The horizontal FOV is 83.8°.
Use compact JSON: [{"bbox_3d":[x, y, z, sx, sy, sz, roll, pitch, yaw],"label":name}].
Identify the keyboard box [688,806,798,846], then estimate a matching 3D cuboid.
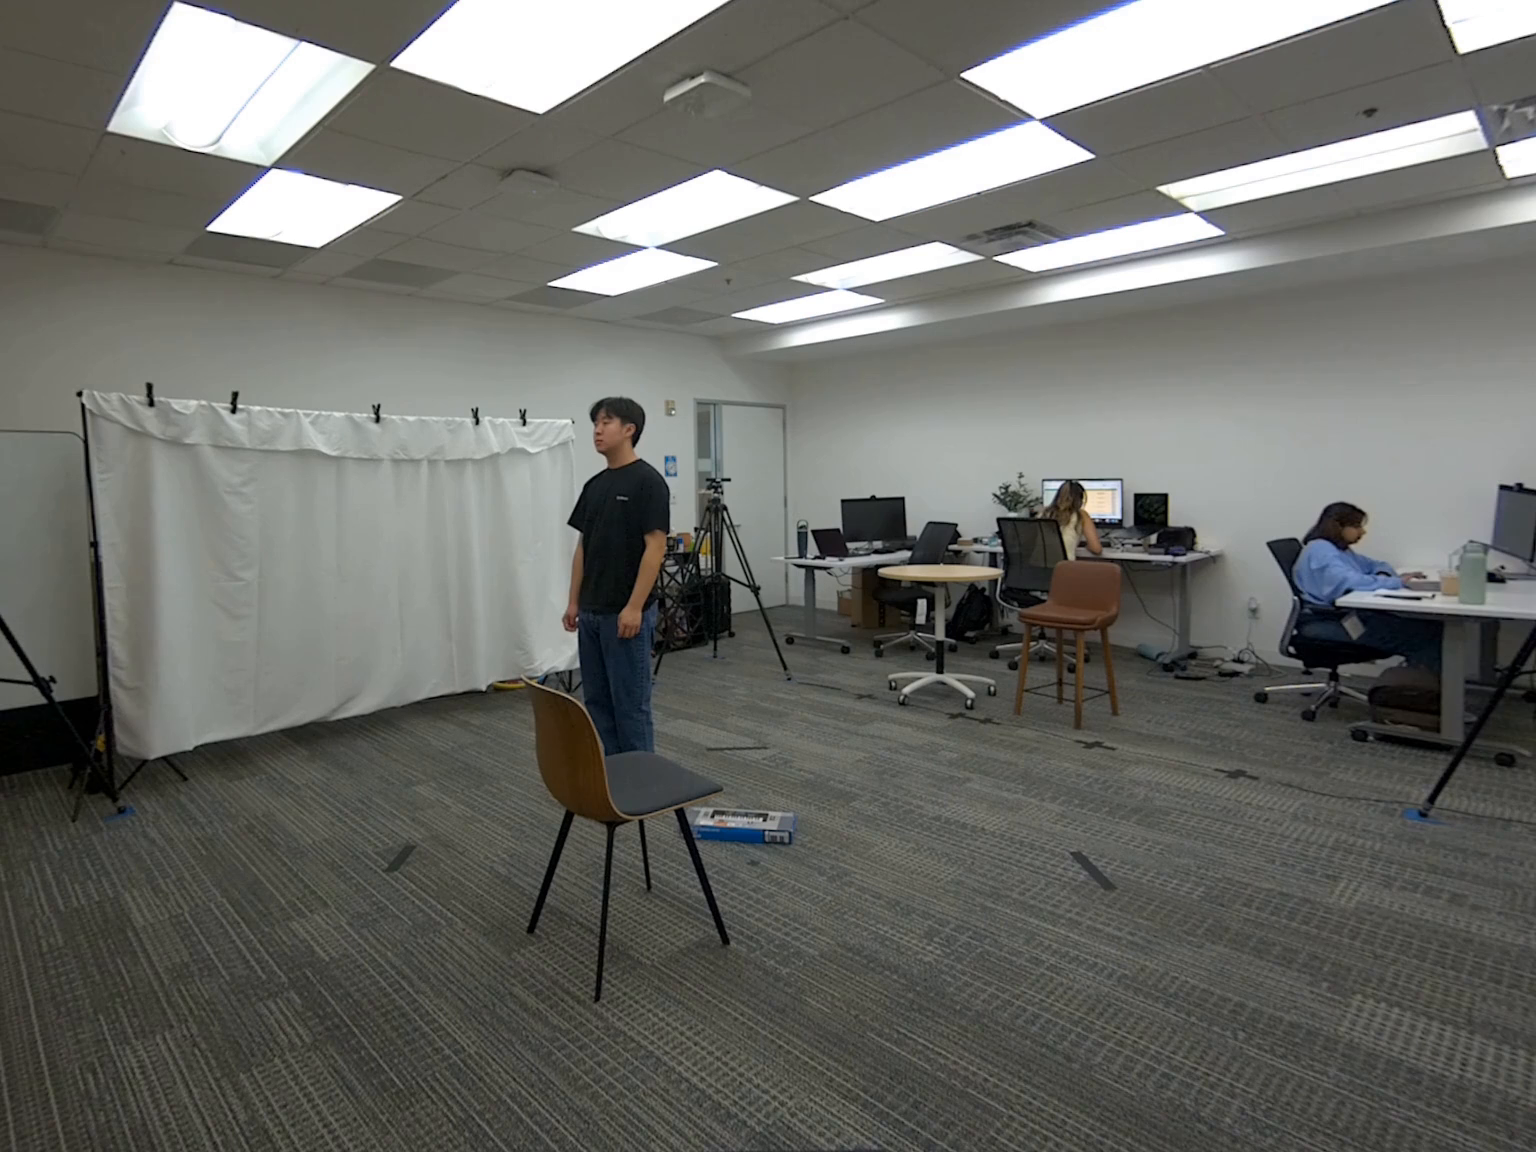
[{"bbox_3d":[-0.114,0.985,3.371,0.441,0.059,0.175,0,7,10],"label":"keyboard box"}]
